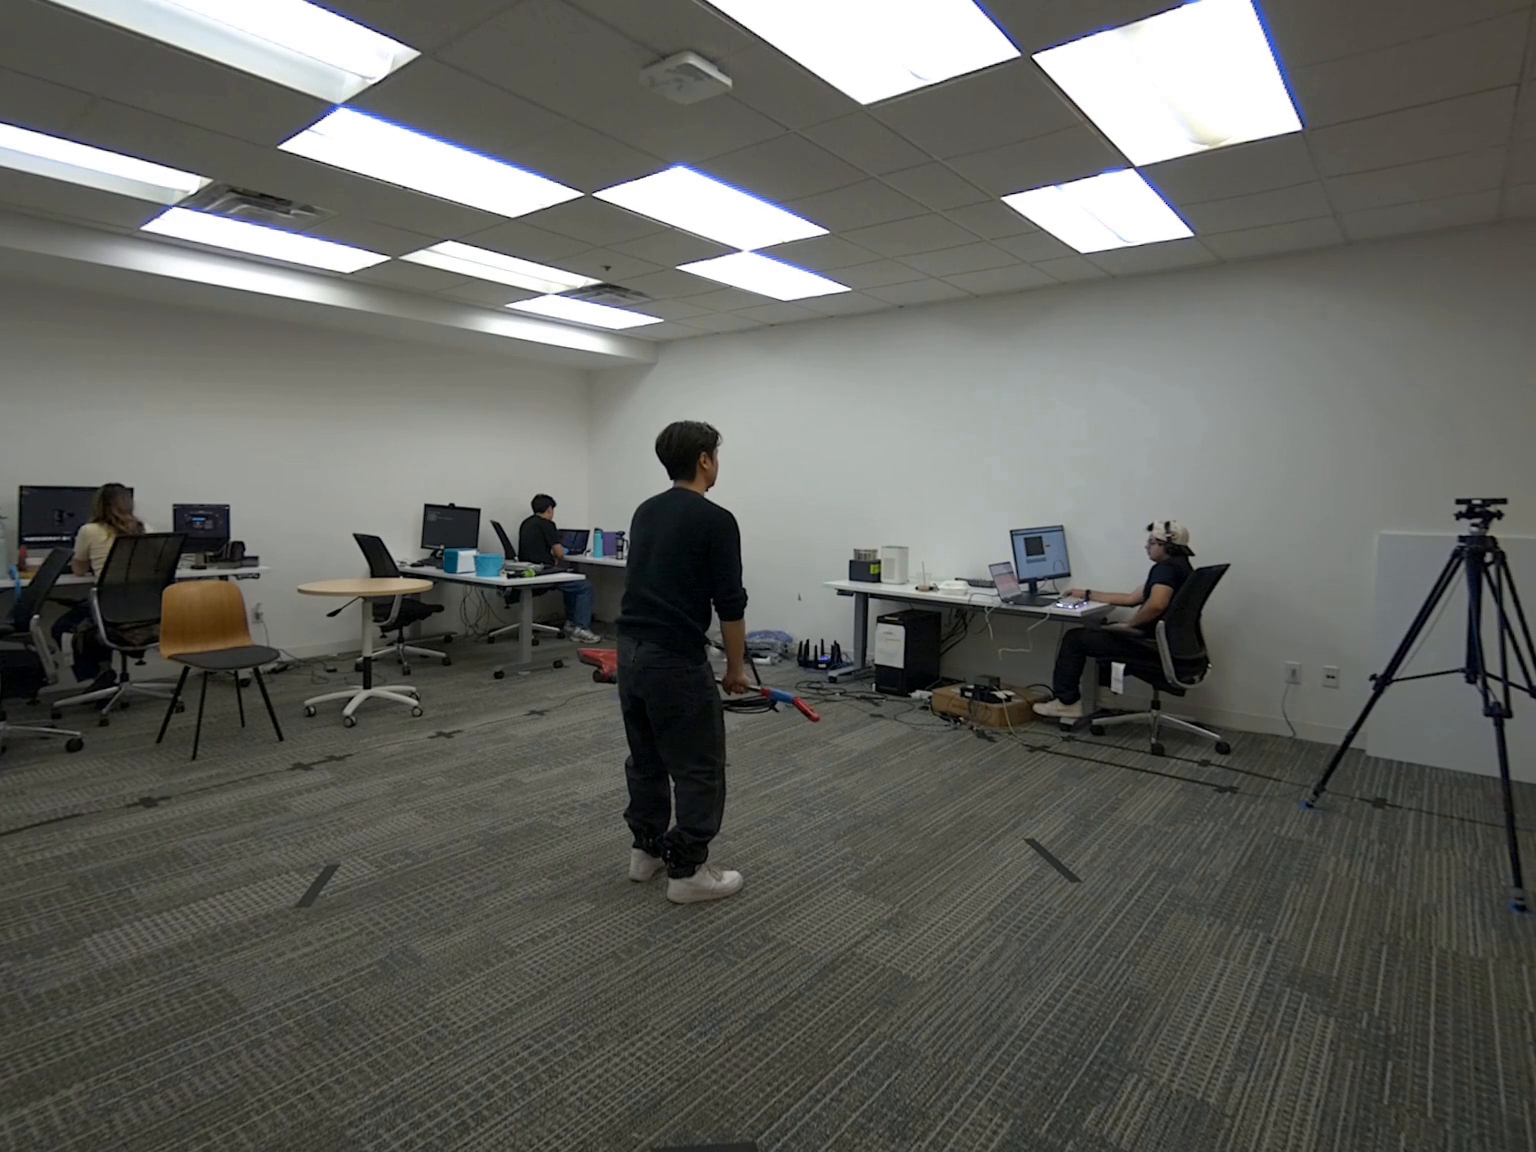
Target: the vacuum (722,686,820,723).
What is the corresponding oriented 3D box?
[{"bbox_3d":[-0.259,0.410,3.106,1.085,0.144,0.243,7,-2,40],"label":"vacuum"}]
